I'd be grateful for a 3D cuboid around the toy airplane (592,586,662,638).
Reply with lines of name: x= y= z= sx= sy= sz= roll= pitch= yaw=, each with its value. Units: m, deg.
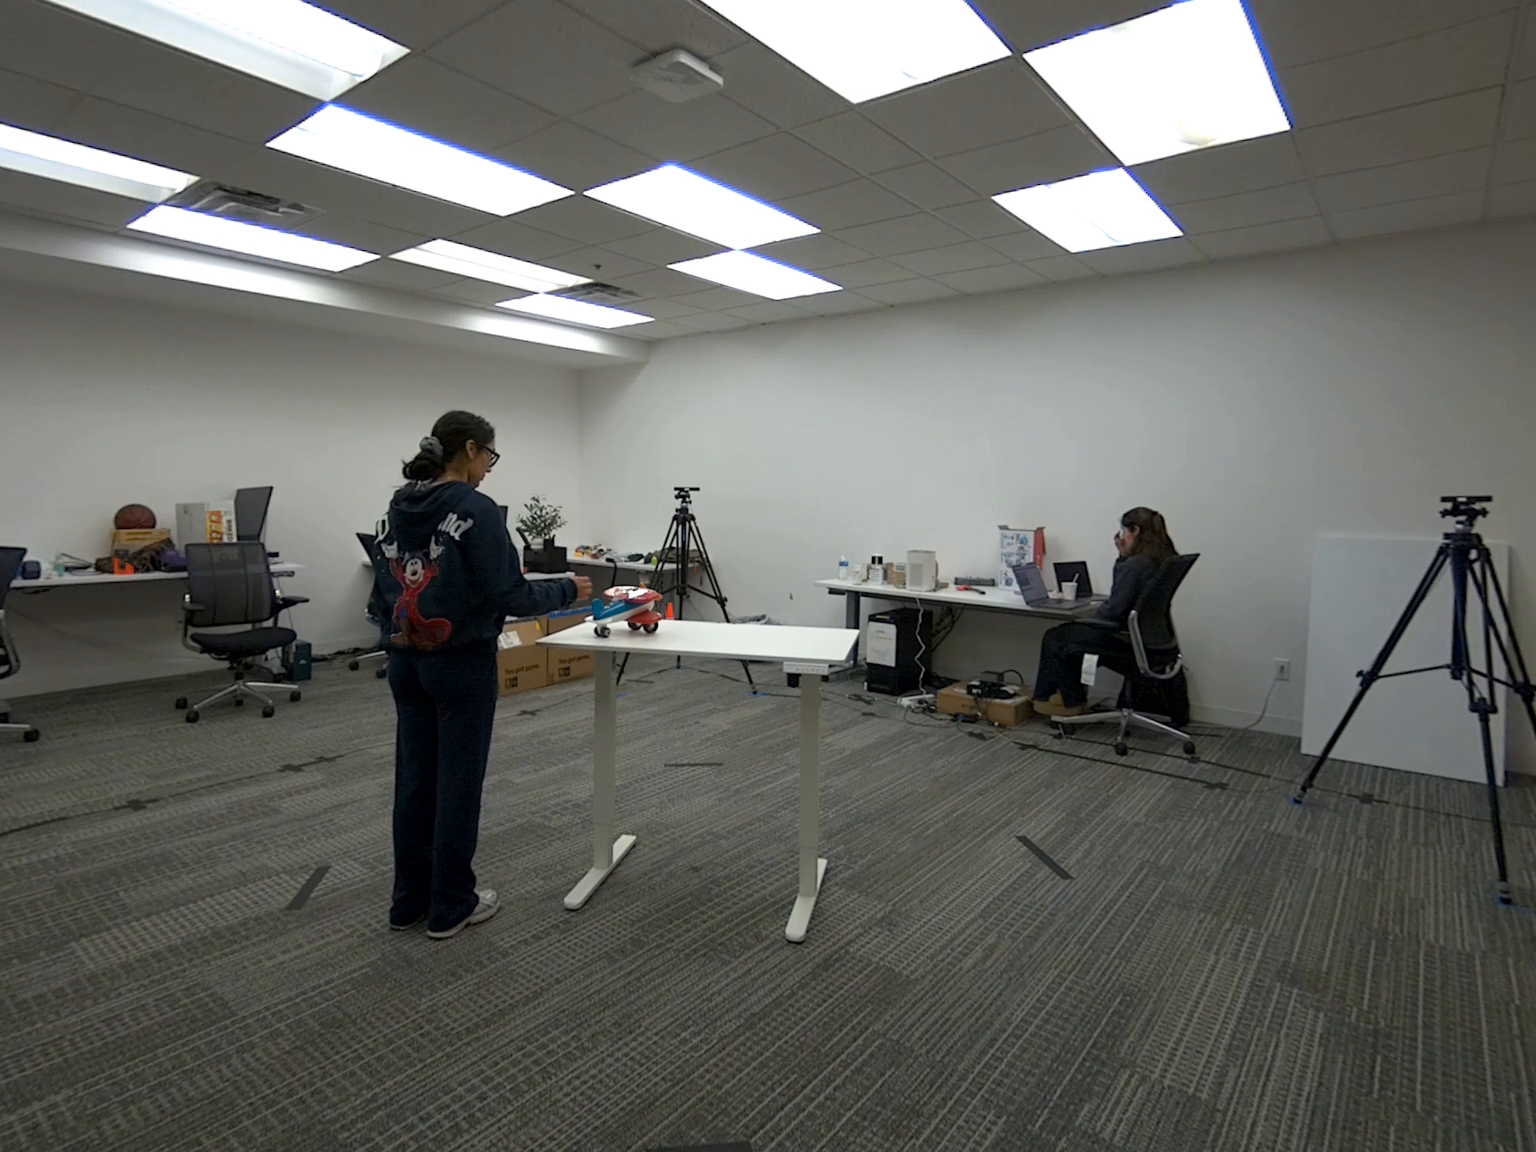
toy airplane: x=-0.478 y=0.126 z=2.934 sx=0.256 sy=0.156 sz=0.255 roll=3 pitch=5 yaw=16
